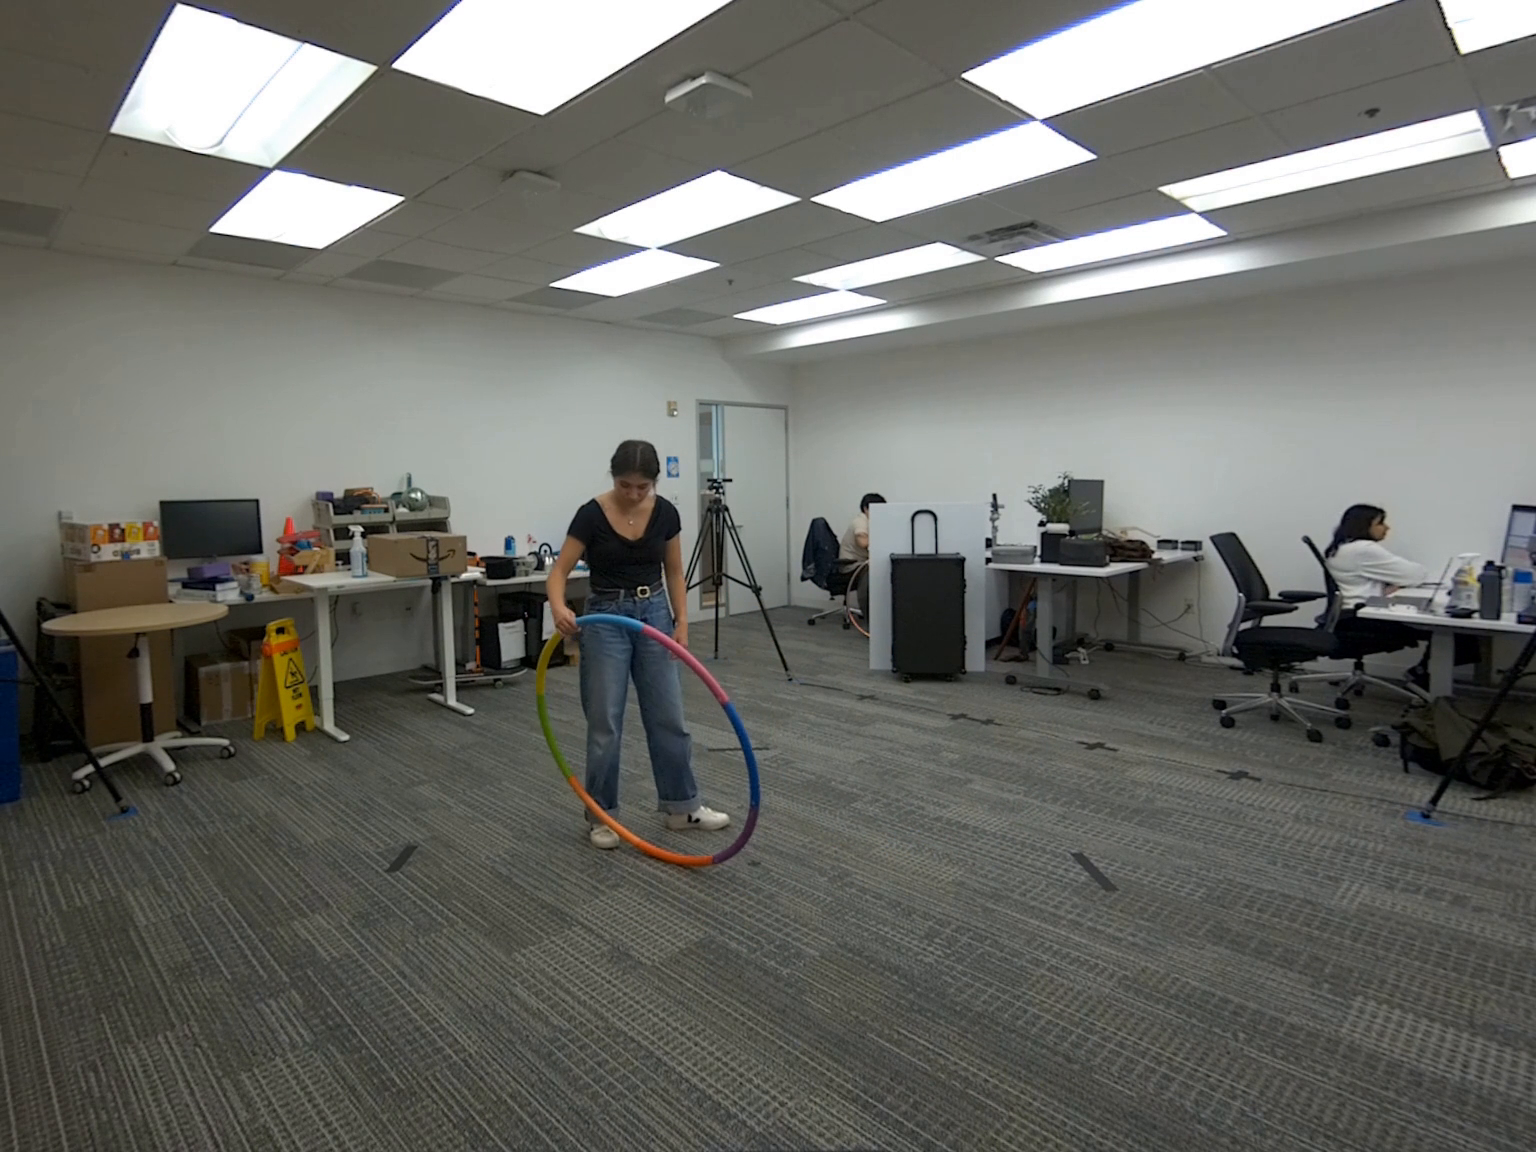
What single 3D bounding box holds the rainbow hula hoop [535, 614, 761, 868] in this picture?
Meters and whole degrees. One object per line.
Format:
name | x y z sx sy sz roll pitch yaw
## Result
rainbow hula hoop | -0.438 0.595 2.989 1.006 0.961 0.035 3 21 34
